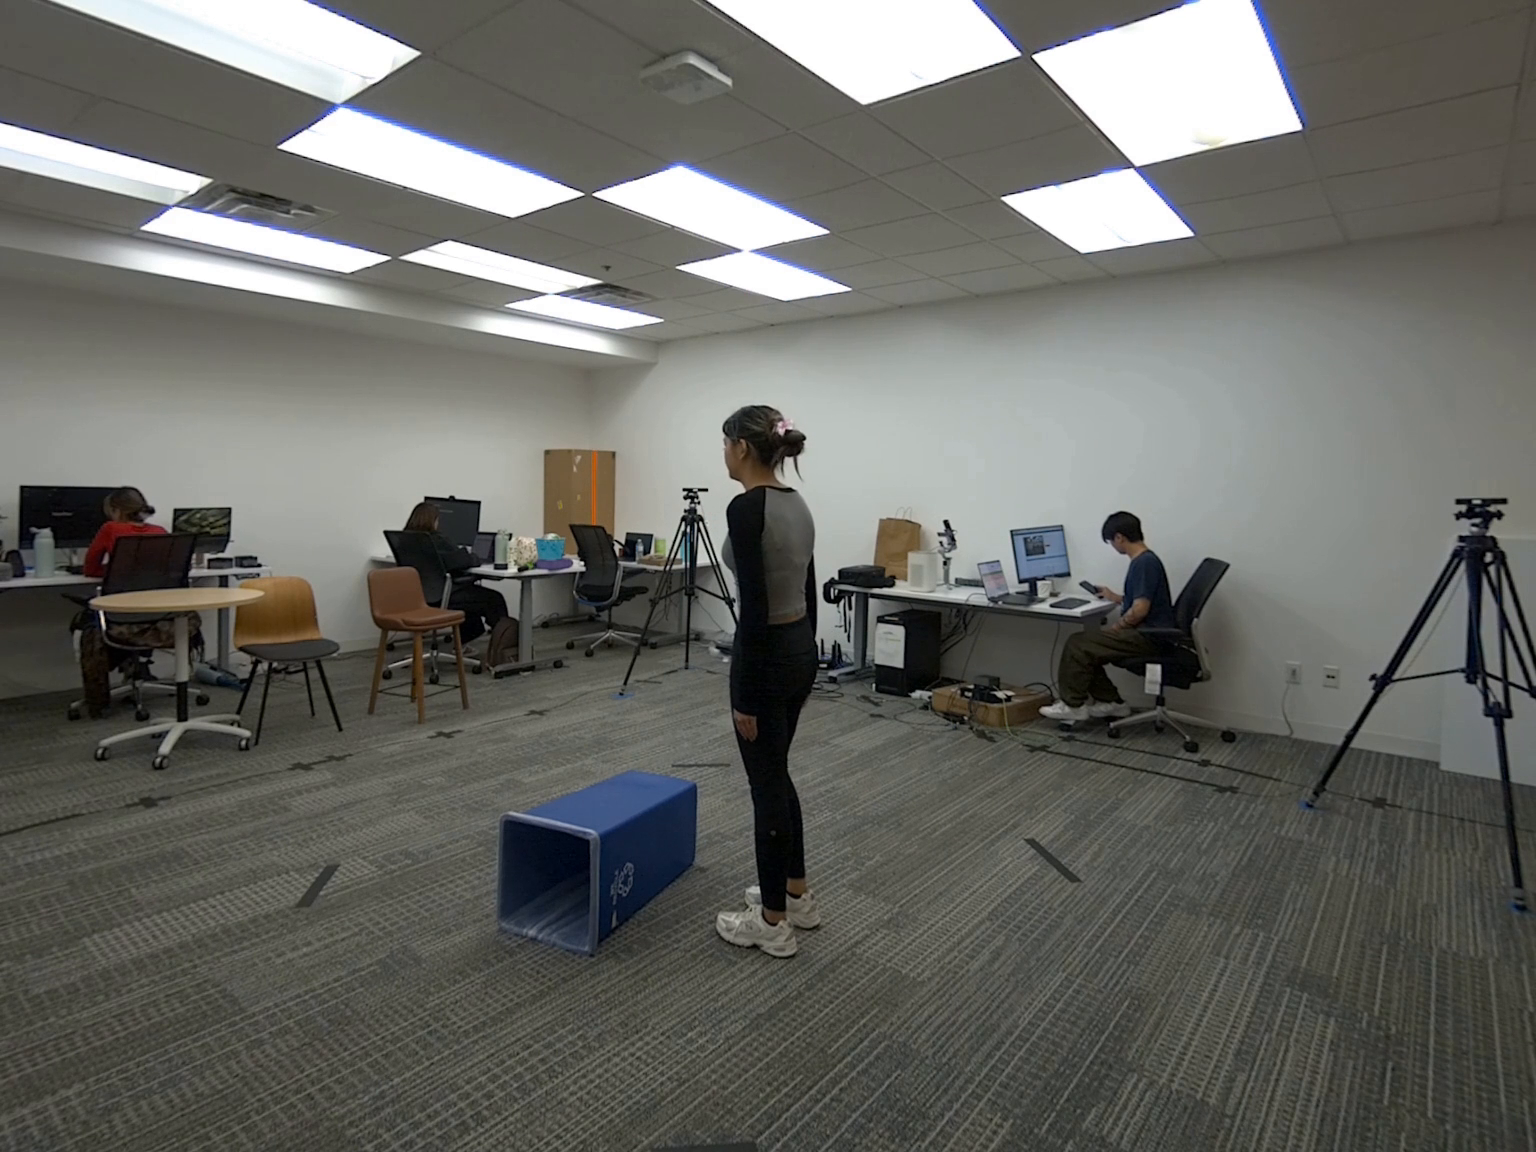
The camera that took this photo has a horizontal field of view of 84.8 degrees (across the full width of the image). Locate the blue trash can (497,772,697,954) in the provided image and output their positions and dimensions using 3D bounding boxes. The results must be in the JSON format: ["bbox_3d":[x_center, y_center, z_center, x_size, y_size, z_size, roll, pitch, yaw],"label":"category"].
[{"bbox_3d":[-0.548,0.913,2.900,0.384,0.377,0.696,2,3,25],"label":"blue trash can"}]
